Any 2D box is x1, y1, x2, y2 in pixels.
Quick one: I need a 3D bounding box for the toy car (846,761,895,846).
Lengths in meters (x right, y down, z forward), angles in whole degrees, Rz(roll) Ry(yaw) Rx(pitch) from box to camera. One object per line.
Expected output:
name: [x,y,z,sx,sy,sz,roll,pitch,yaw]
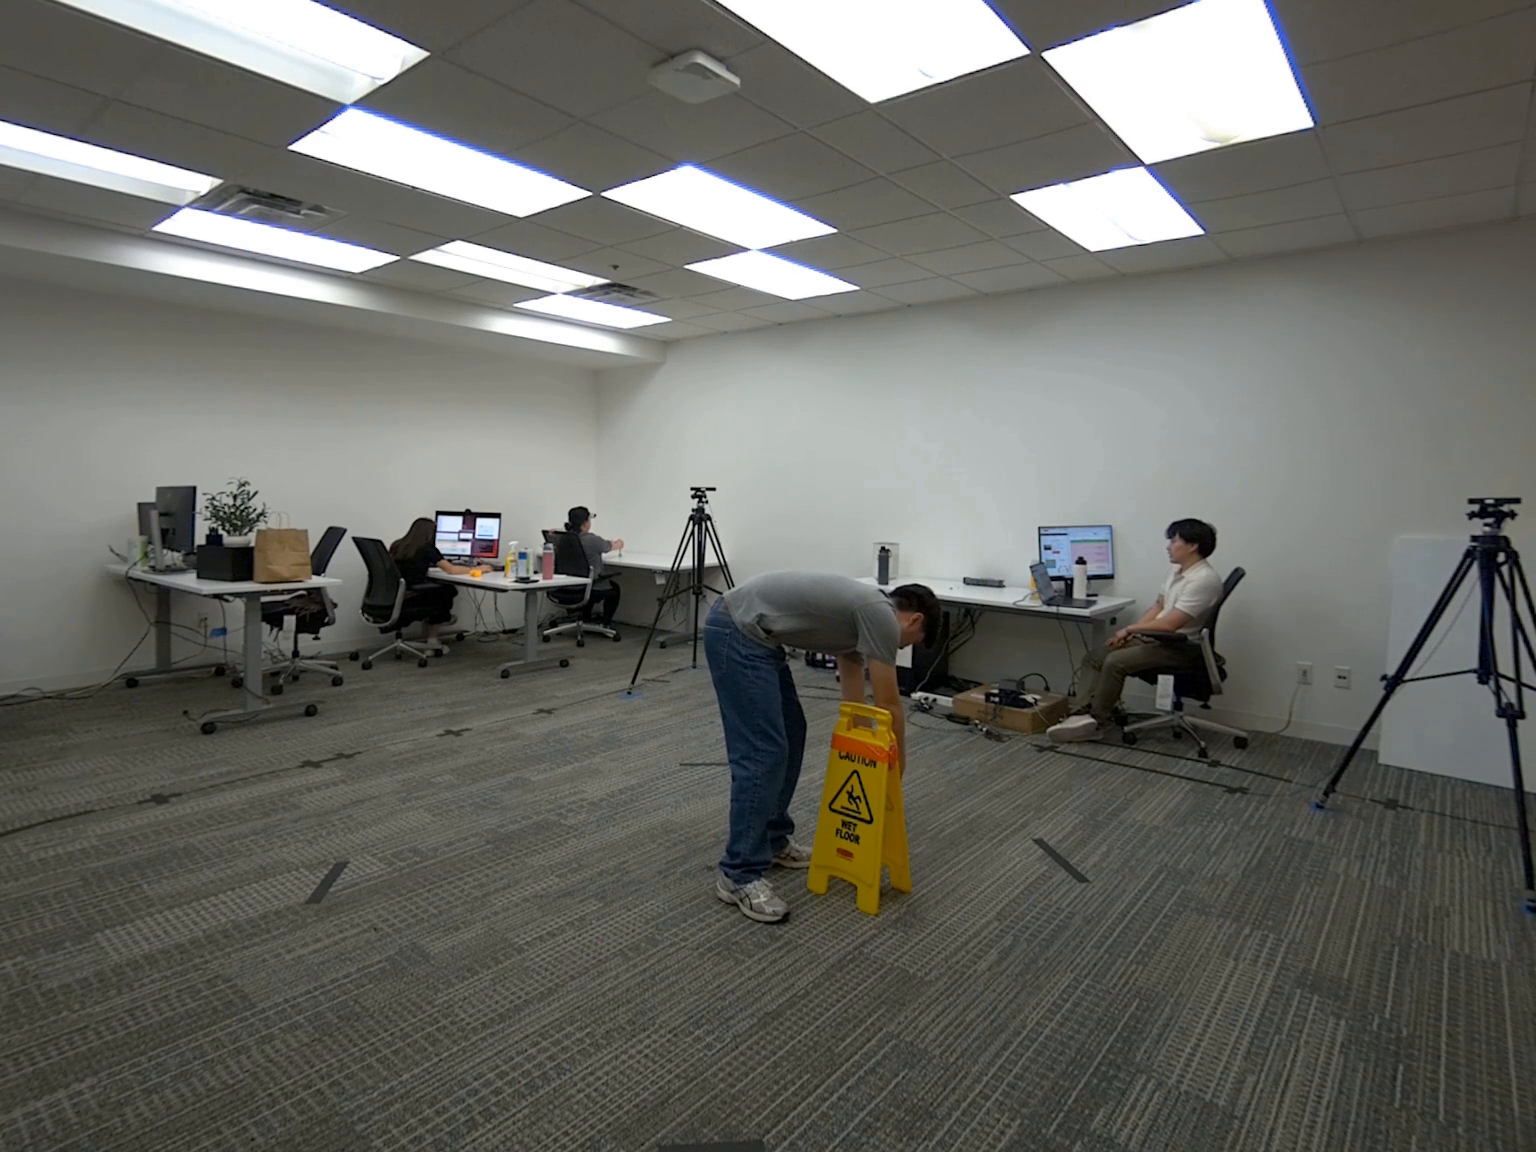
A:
toy car: [0.367,0.813,3.027,0.081,0.255,0.134,-3,0,-44]
